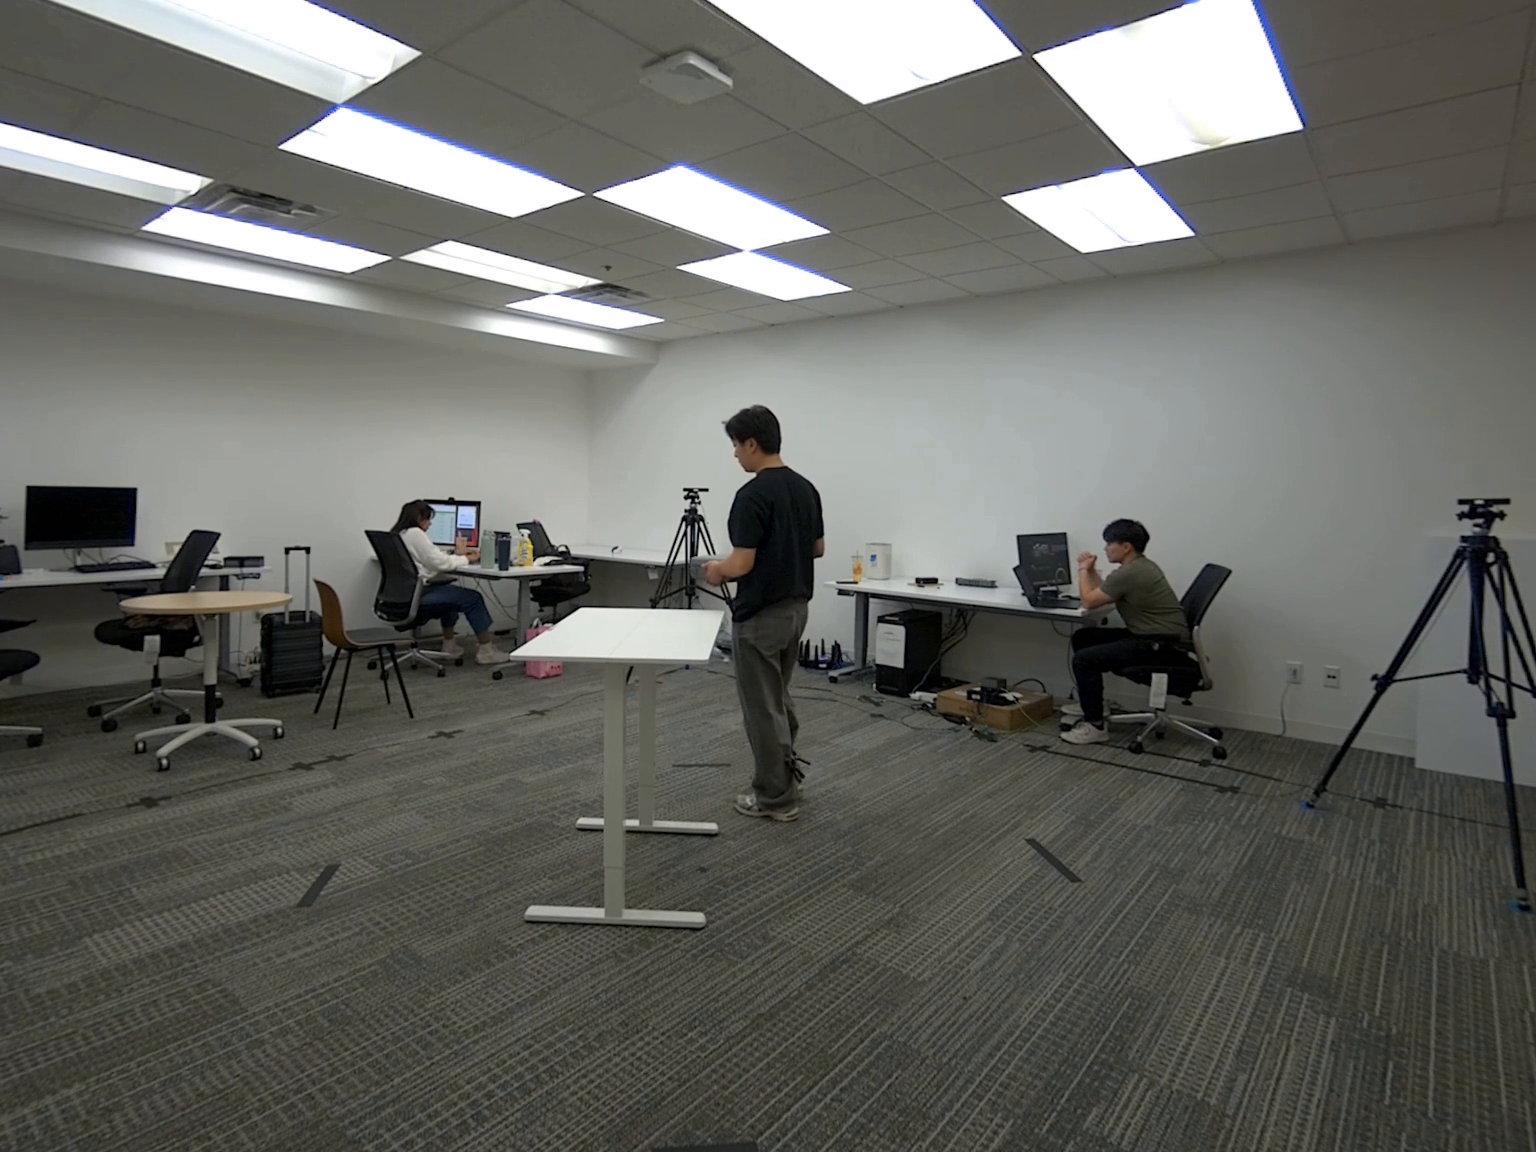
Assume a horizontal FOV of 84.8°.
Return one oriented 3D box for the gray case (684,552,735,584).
[{"bbox_3d":[-0.188,-0.042,3.825,0.297,0.102,0.256,4,8,41],"label":"gray case"}]
